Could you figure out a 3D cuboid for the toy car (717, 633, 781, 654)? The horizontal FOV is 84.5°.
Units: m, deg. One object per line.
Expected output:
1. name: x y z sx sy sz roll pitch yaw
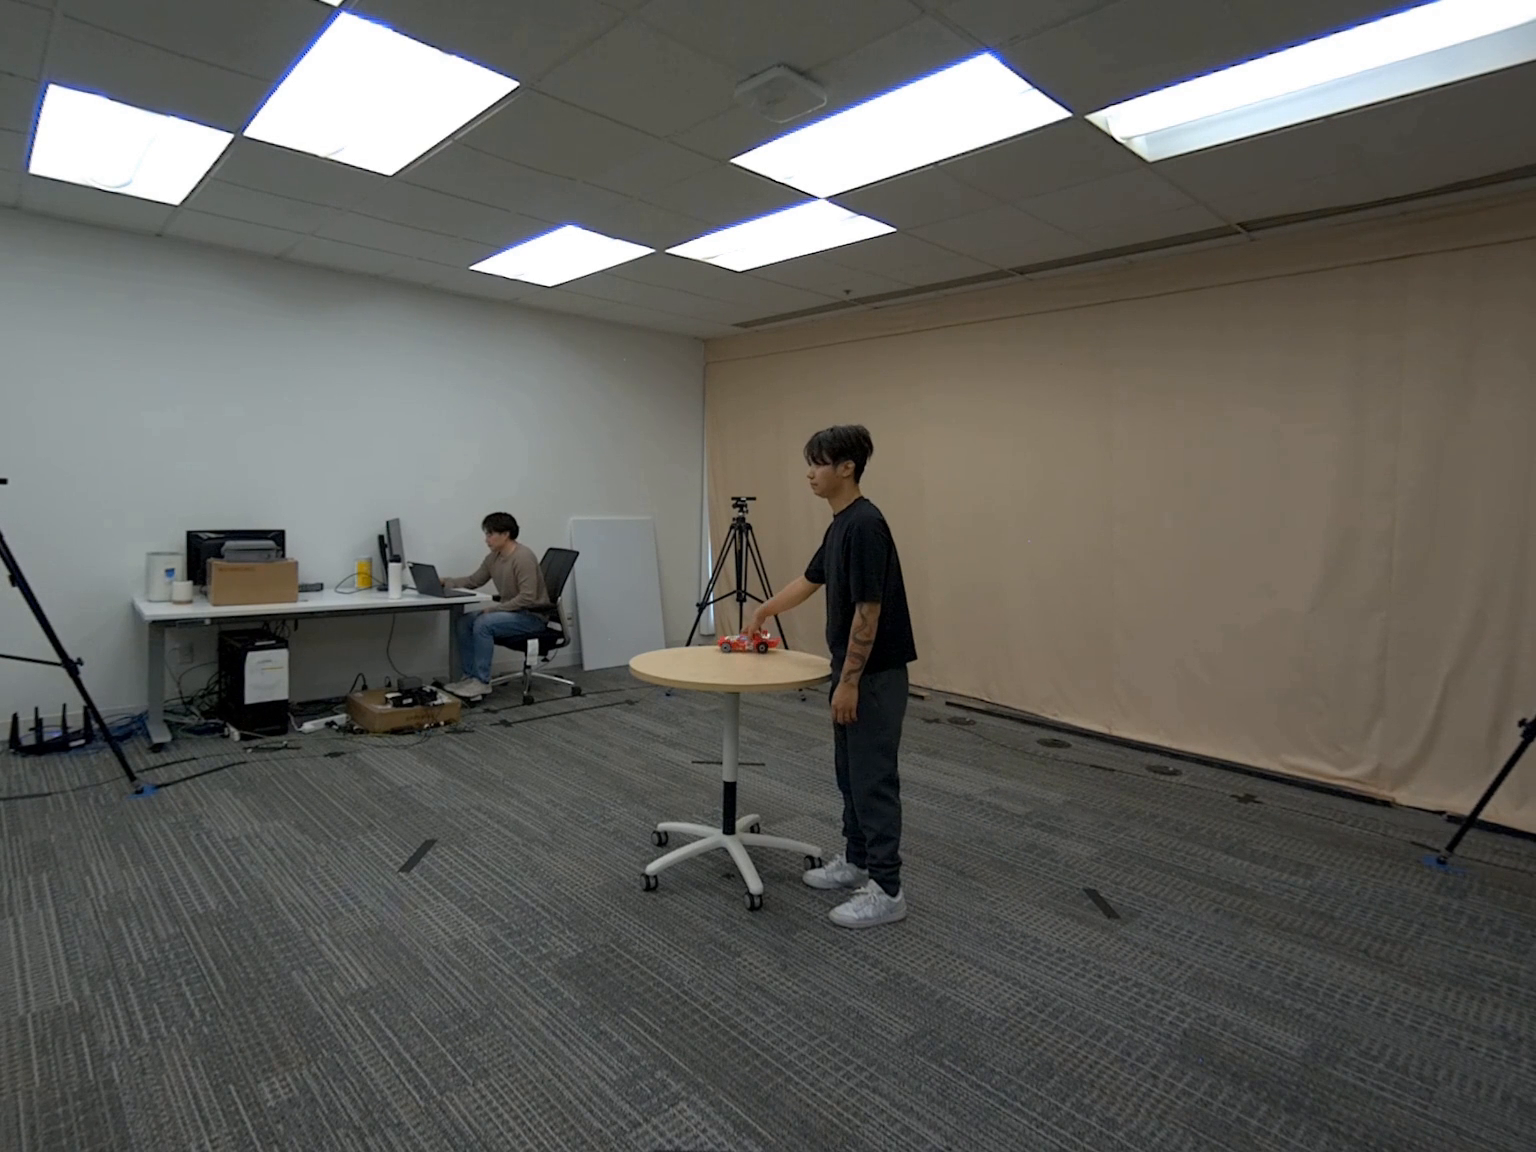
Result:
1. toy car: -0.079 0.270 3.380 0.255 0.083 0.130 -10 3 1
